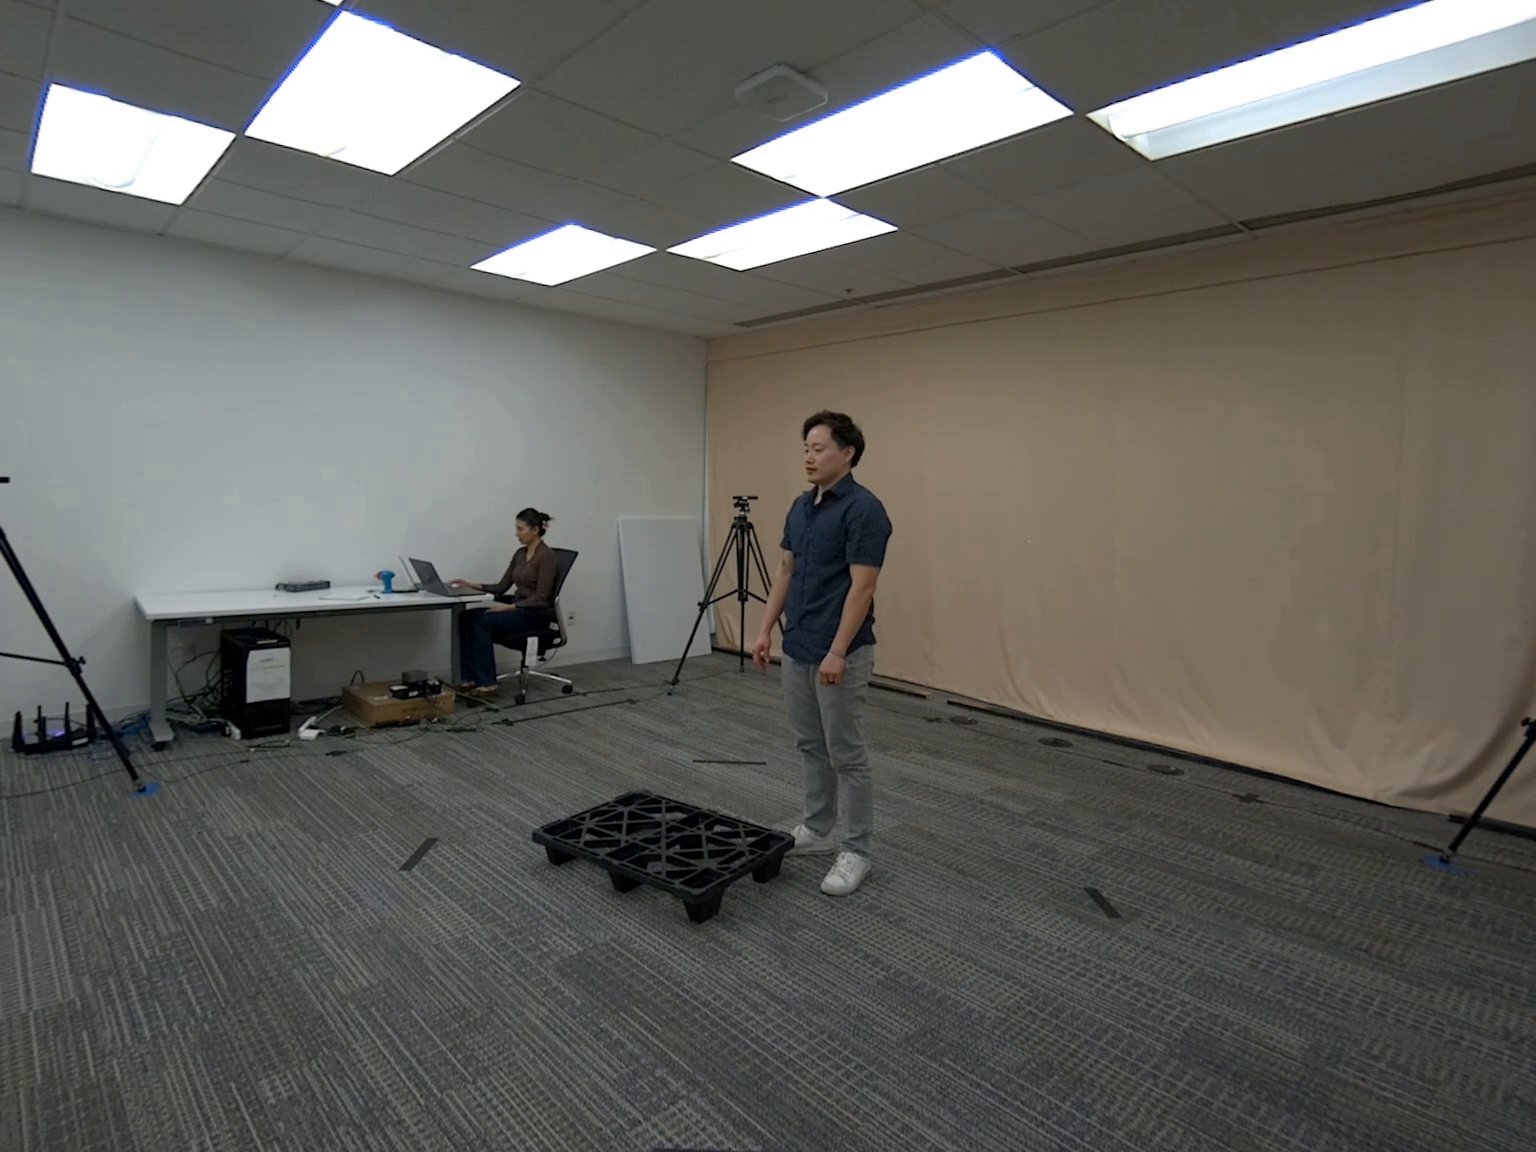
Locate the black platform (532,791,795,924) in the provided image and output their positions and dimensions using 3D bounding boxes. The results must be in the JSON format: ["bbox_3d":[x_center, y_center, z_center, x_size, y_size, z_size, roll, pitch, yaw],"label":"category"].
[{"bbox_3d":[-0.395,1.026,3.132,0.825,0.143,0.593,5,7,35],"label":"black platform"}]
